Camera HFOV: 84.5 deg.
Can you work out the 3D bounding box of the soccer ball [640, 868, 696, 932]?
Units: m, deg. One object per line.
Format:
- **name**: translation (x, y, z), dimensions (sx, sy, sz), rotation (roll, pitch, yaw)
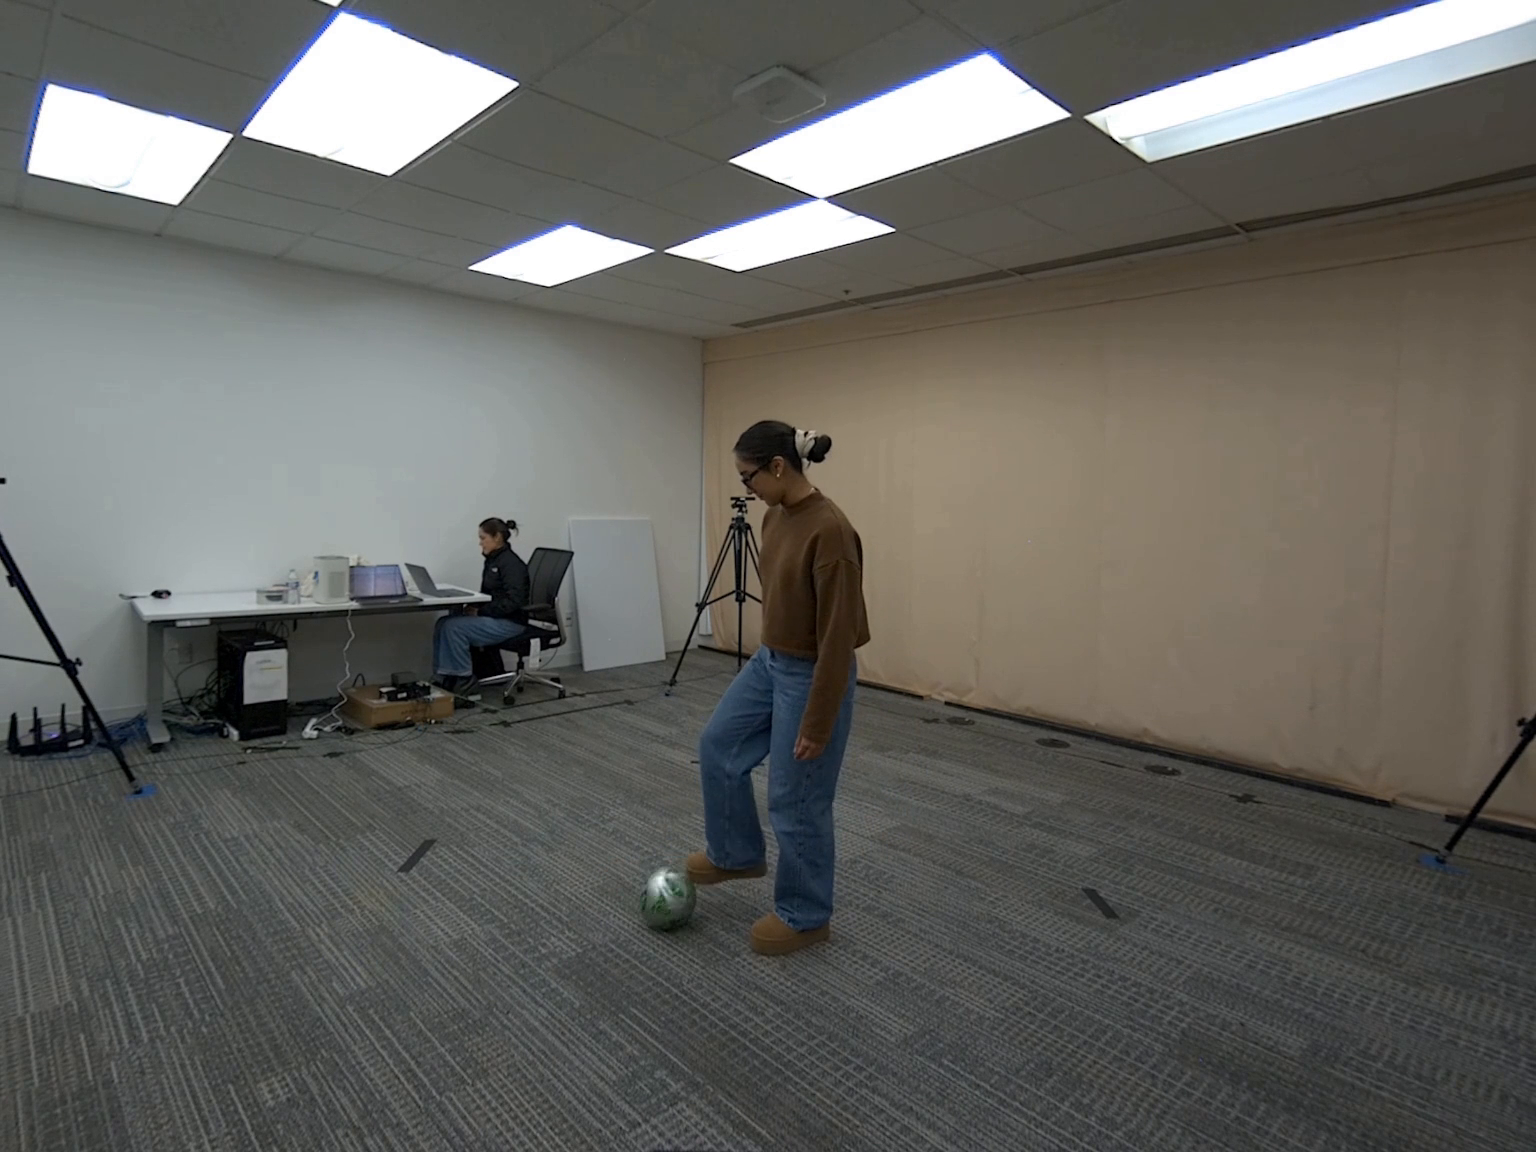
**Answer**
- **soccer ball**: translation (-0.332, 1.040, 2.728), dimensions (0.187, 0.187, 0.188), rotation (1, 4, -1)
